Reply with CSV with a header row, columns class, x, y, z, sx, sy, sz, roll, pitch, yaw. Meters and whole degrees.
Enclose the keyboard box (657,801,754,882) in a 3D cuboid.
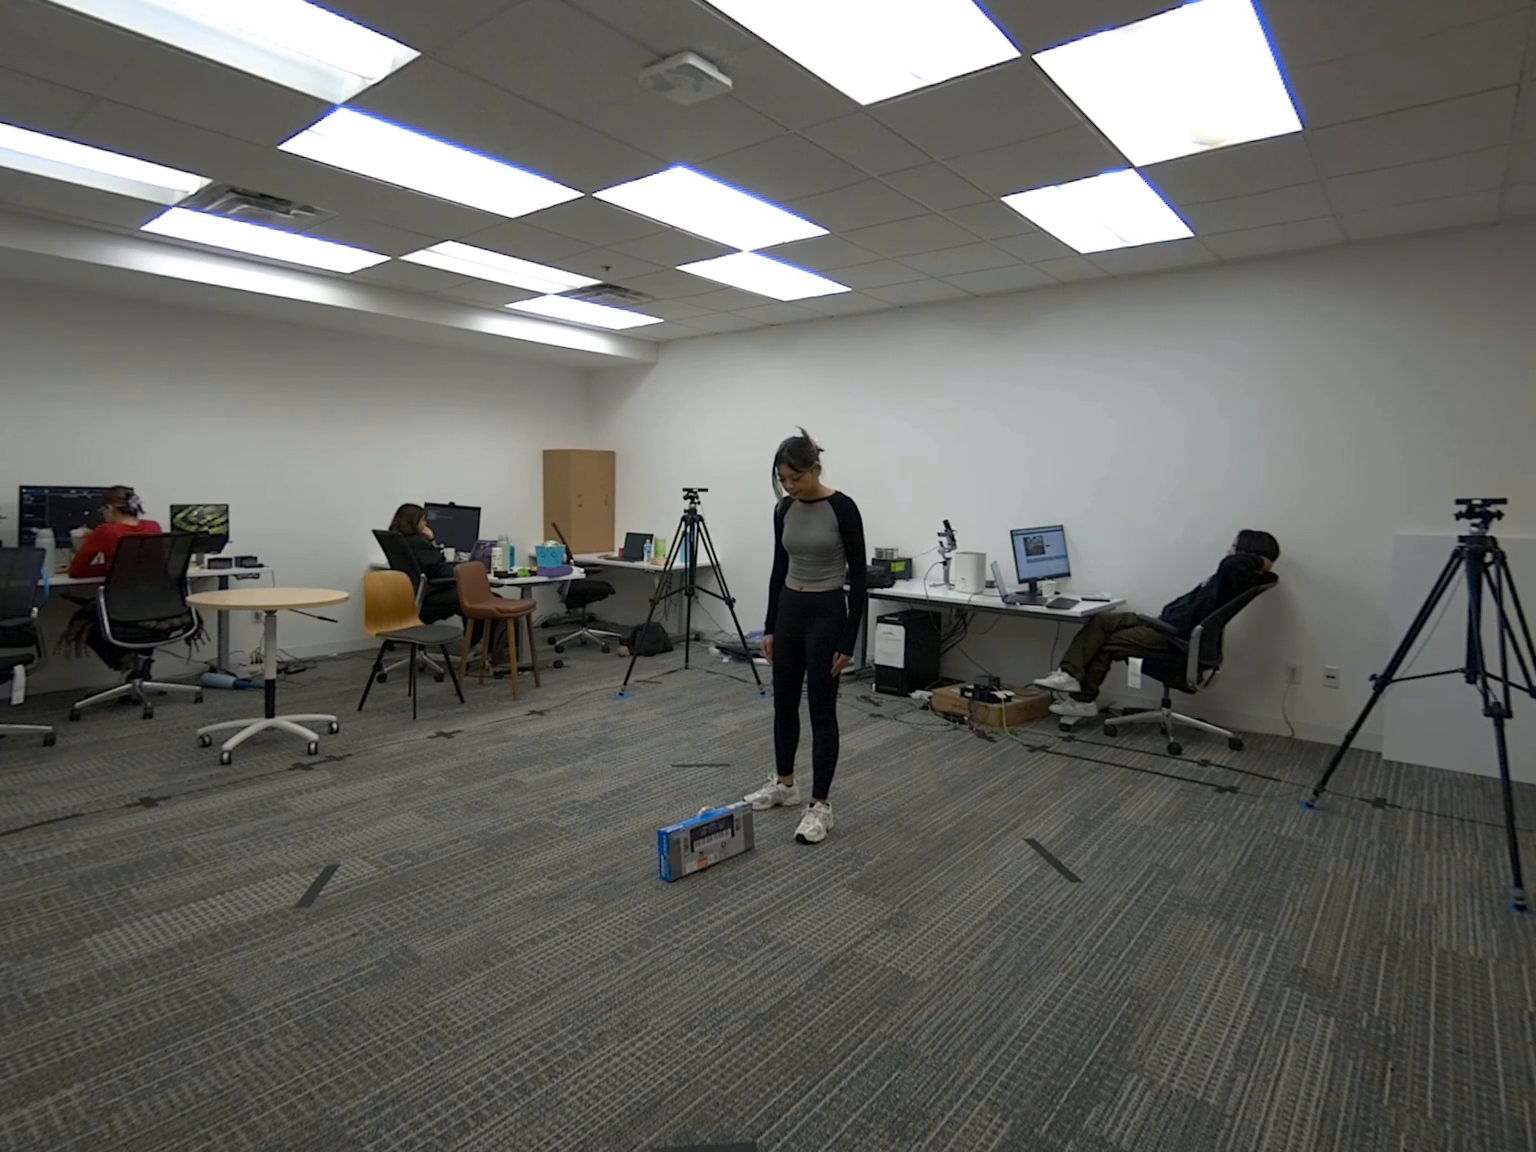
class,x,y,z,sx,sy,sz,roll,pitch,yaw
keyboard box,-0.231,0.978,3.163,0.061,0.176,0.424,-5,0,44
